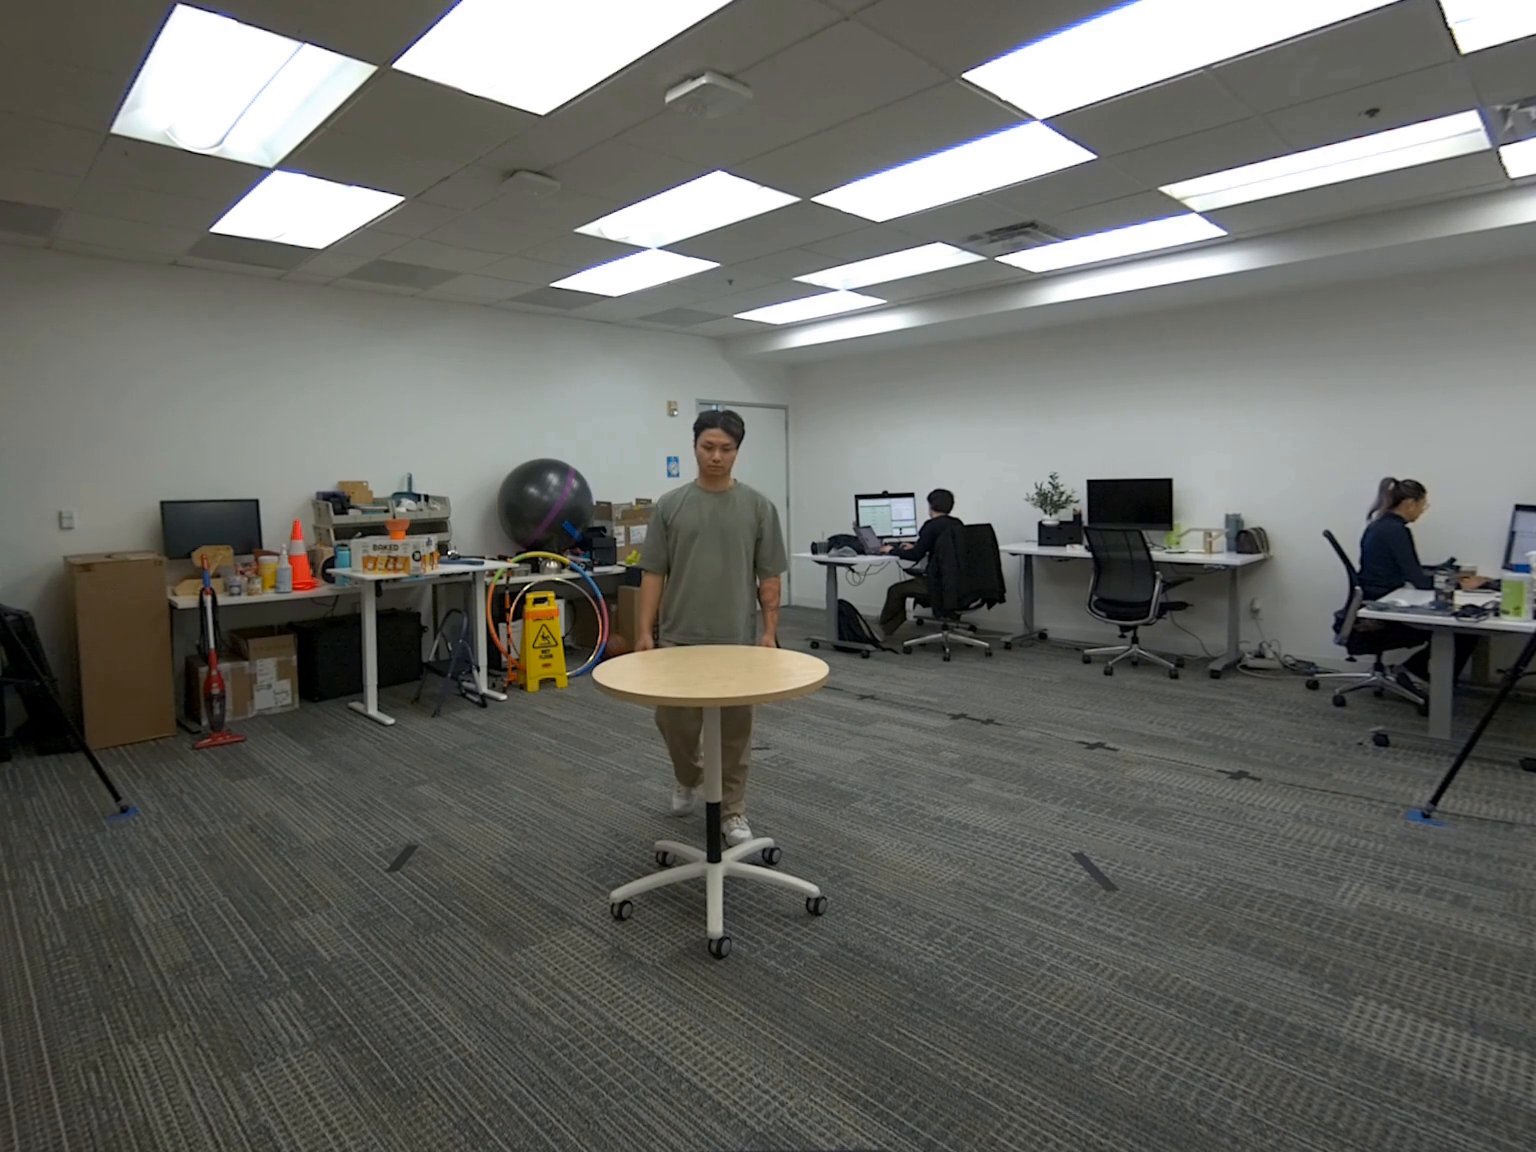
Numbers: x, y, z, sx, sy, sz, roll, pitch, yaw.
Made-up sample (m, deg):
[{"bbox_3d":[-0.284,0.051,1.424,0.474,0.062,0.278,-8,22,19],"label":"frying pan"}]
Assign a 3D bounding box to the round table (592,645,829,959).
[{"bbox_3d":[-0.162,0.691,2.797,0.784,0.783,0.789,-1,5,-2],"label":"round table"}]
